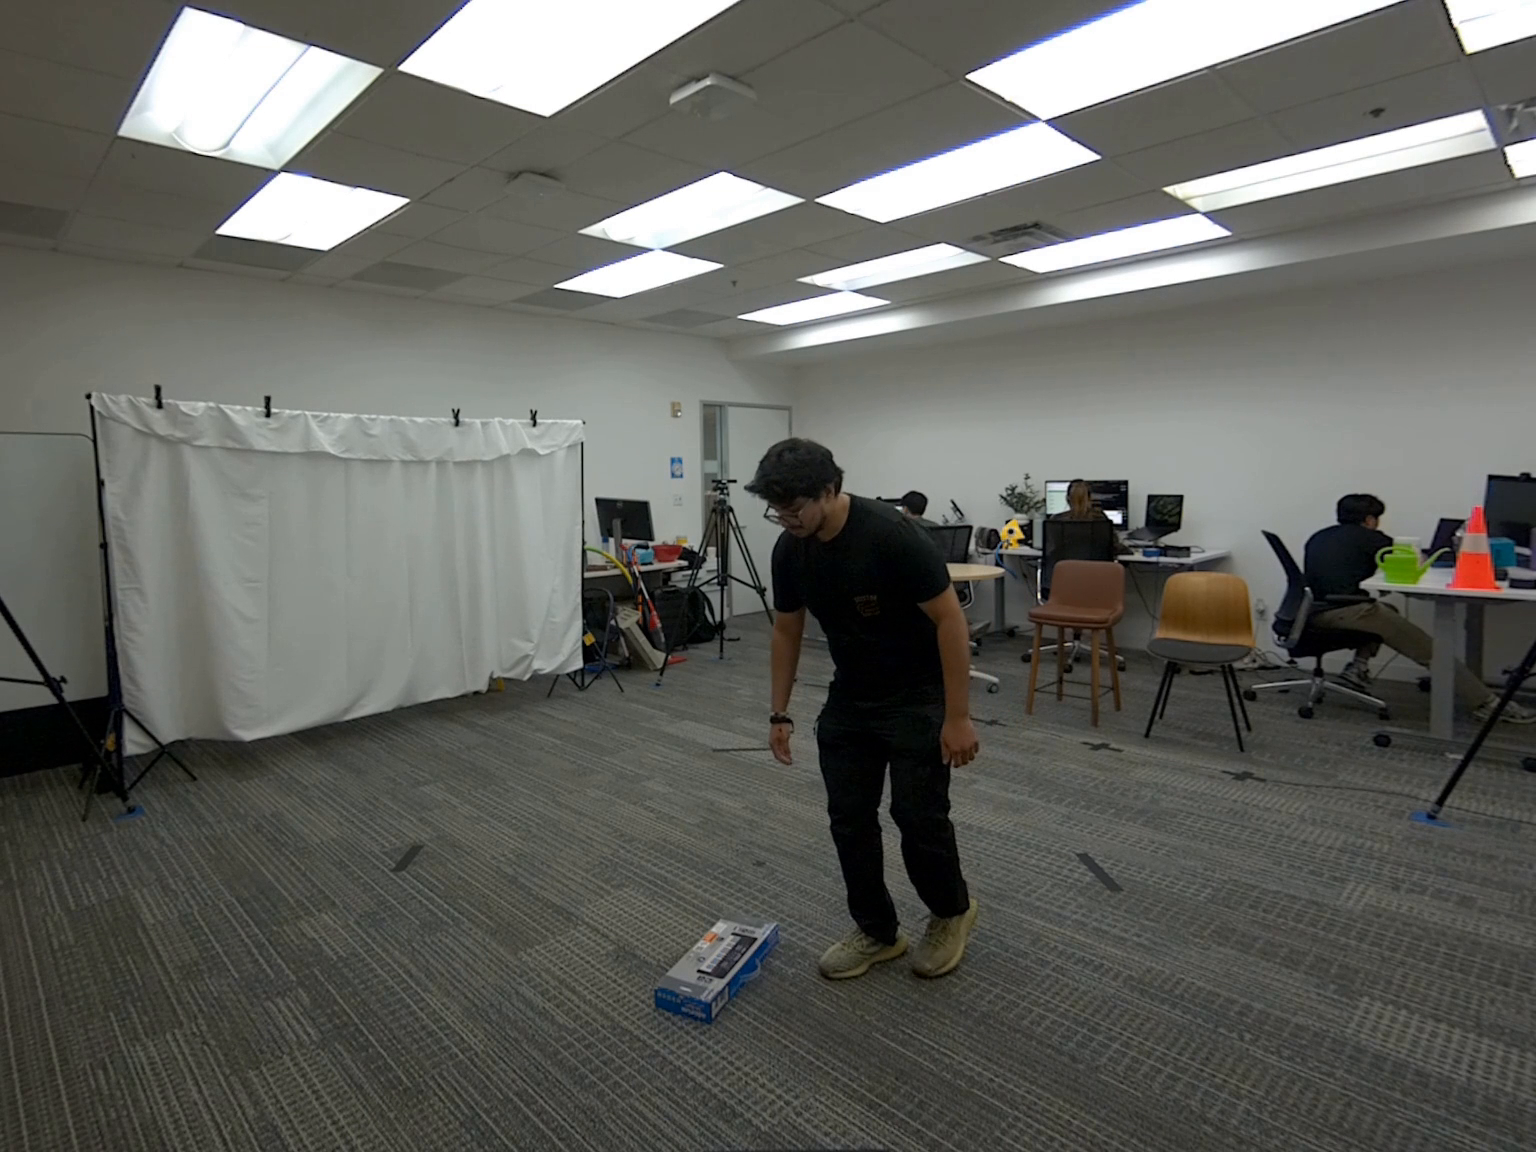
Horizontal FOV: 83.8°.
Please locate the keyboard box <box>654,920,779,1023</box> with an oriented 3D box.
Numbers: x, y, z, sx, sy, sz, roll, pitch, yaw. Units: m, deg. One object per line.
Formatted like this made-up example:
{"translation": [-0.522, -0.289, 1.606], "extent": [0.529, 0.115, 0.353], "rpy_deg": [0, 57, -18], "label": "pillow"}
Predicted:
{"translation": [-0.132, 1.099, 2.427], "extent": [0.180, 0.059, 0.428], "rpy_deg": [1, 7, 25], "label": "keyboard box"}
